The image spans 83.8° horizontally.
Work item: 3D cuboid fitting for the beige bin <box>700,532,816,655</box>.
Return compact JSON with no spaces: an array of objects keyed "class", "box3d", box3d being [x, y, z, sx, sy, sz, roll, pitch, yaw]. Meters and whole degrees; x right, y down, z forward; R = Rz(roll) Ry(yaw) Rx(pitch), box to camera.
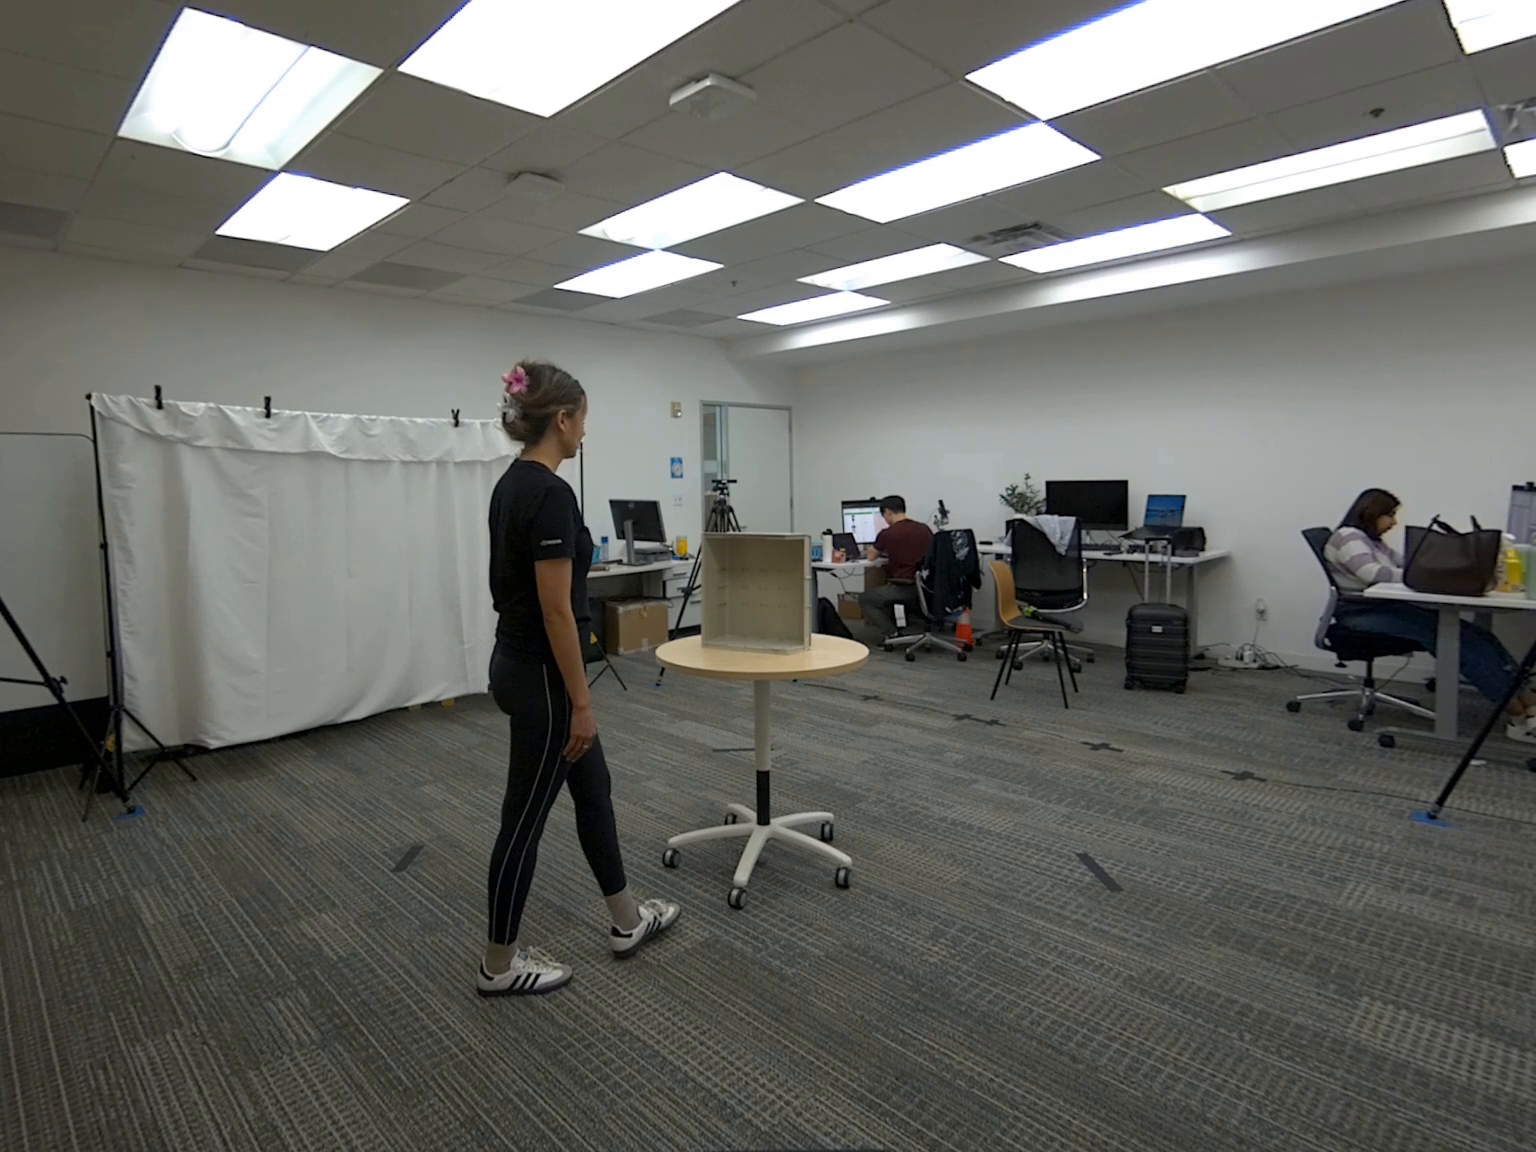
[{"class":"beige bin","box3d":[-0.032,0.052,3.117,0.387,0.421,0.185,2,4,28]}]
